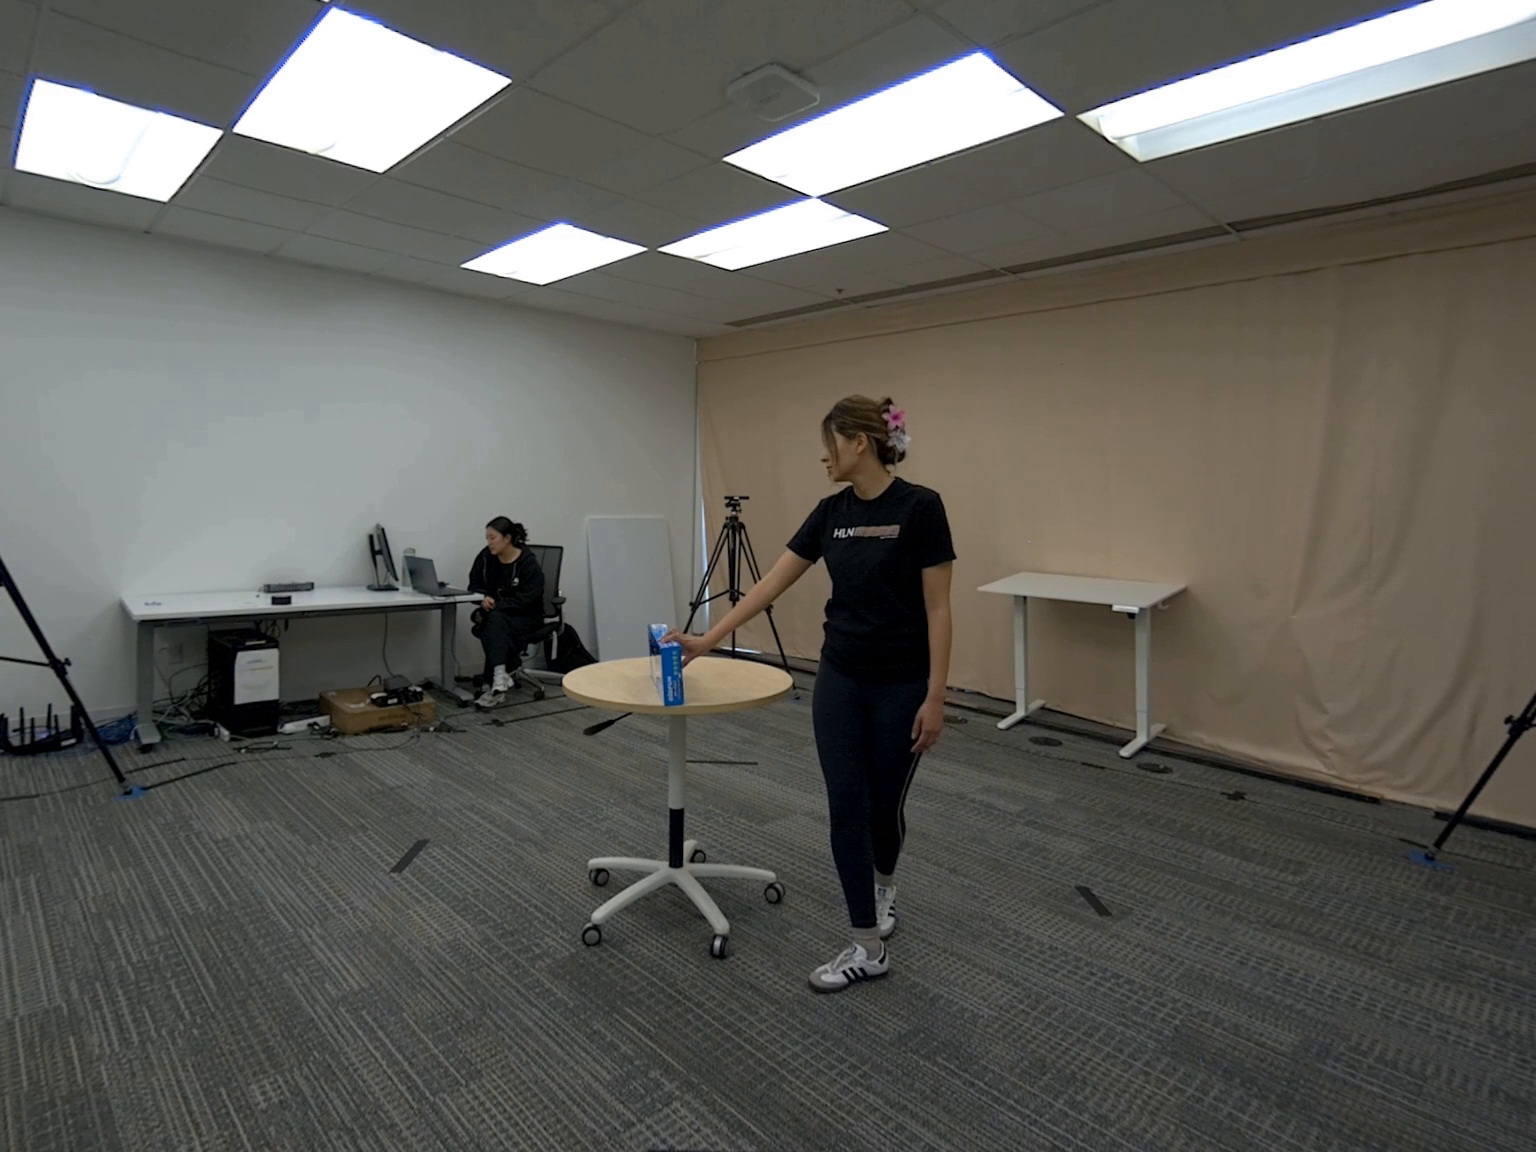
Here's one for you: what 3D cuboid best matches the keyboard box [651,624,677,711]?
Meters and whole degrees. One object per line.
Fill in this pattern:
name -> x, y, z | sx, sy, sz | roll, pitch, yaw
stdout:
keyboard box -> -0.330, 0.273, 2.648 | 0.059, 0.175, 0.441 | -2, 6, -9
